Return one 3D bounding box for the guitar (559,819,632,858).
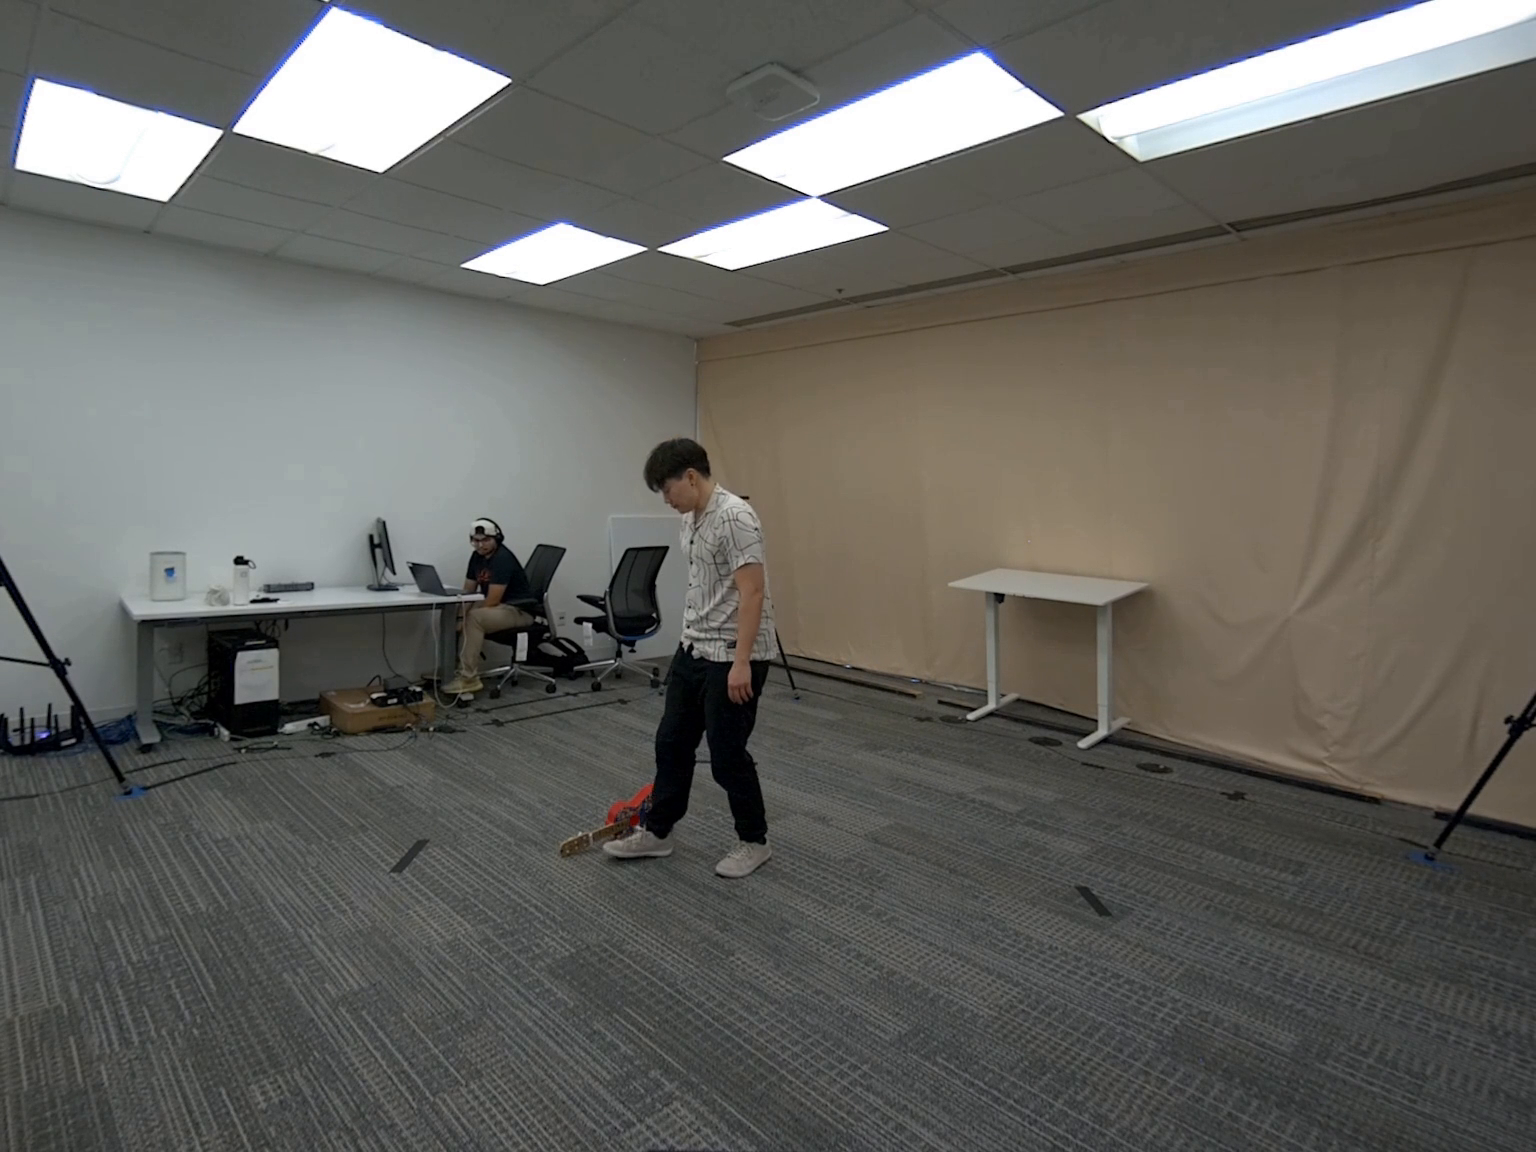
[{"bbox_3d":[-0.620,0.974,3.379,0.487,0.192,0.072,-3,8,-37],"label":"guitar"}]
